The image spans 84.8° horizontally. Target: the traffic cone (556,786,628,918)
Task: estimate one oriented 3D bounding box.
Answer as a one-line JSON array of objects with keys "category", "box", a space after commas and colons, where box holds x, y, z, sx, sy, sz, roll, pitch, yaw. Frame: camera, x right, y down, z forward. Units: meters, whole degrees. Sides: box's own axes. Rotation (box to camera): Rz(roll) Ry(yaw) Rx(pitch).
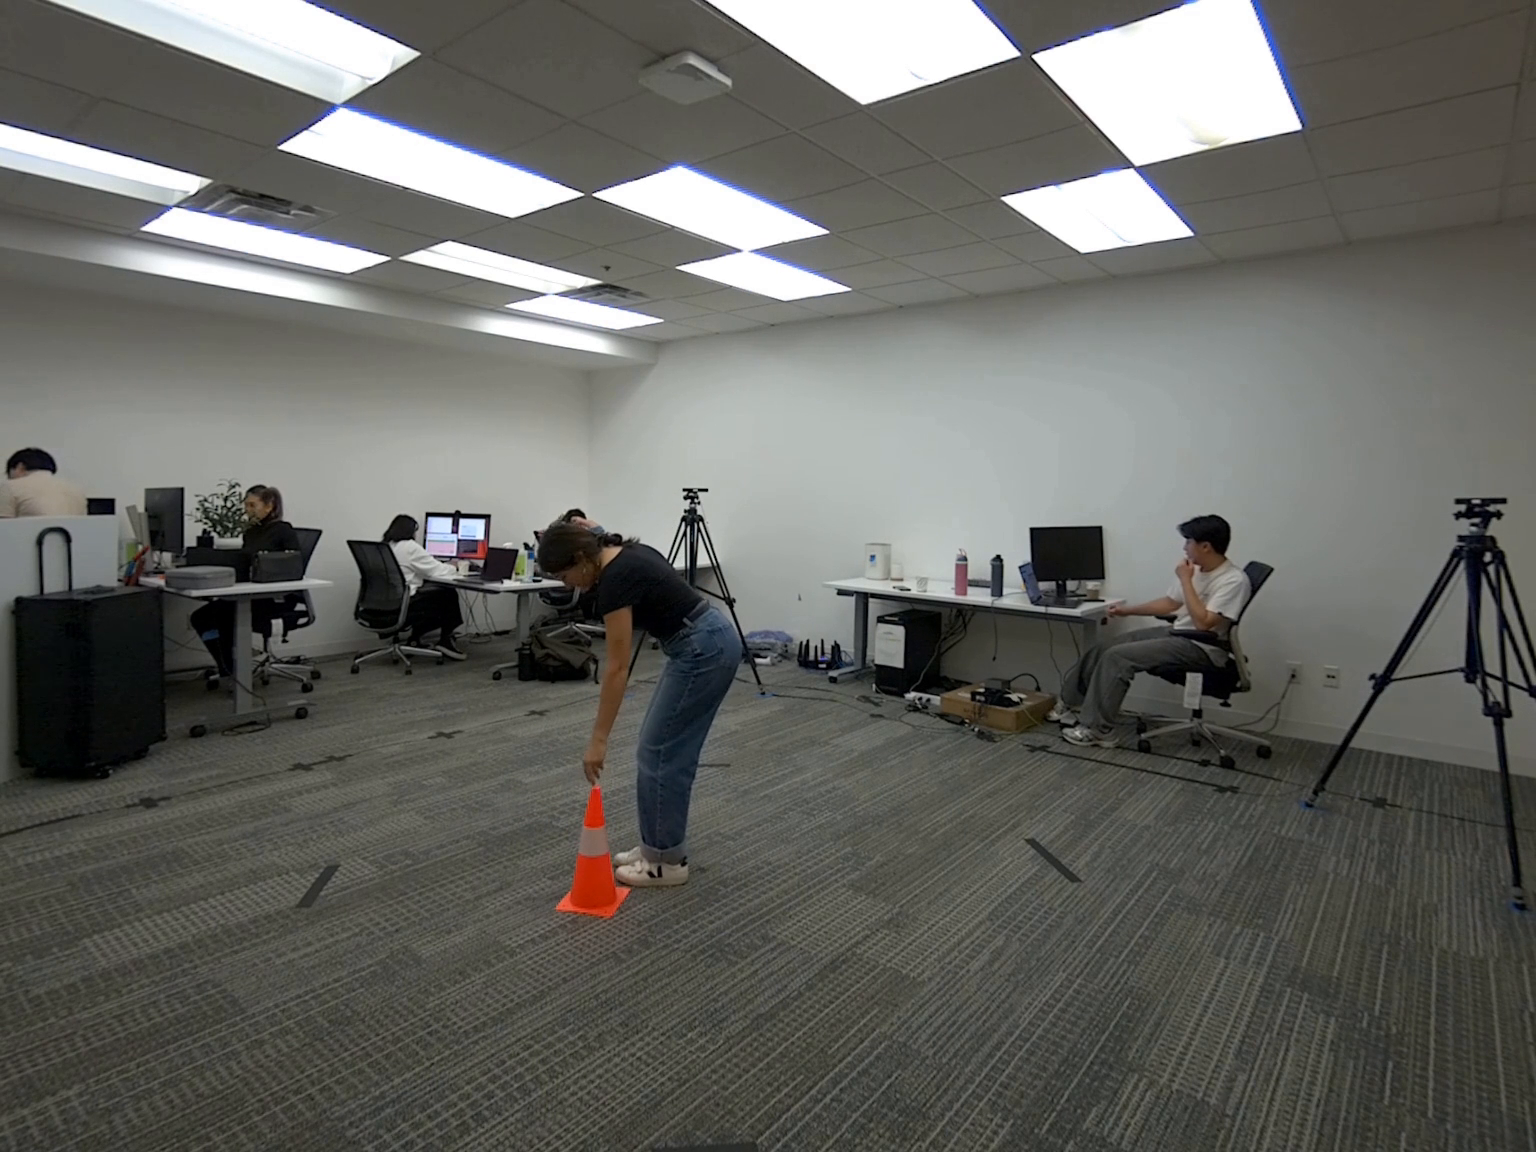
[{"category": "traffic cone", "box": [-0.588, 0.898, 2.864, 0.206, 0.382, 0.203, 2, 3, 11]}]
